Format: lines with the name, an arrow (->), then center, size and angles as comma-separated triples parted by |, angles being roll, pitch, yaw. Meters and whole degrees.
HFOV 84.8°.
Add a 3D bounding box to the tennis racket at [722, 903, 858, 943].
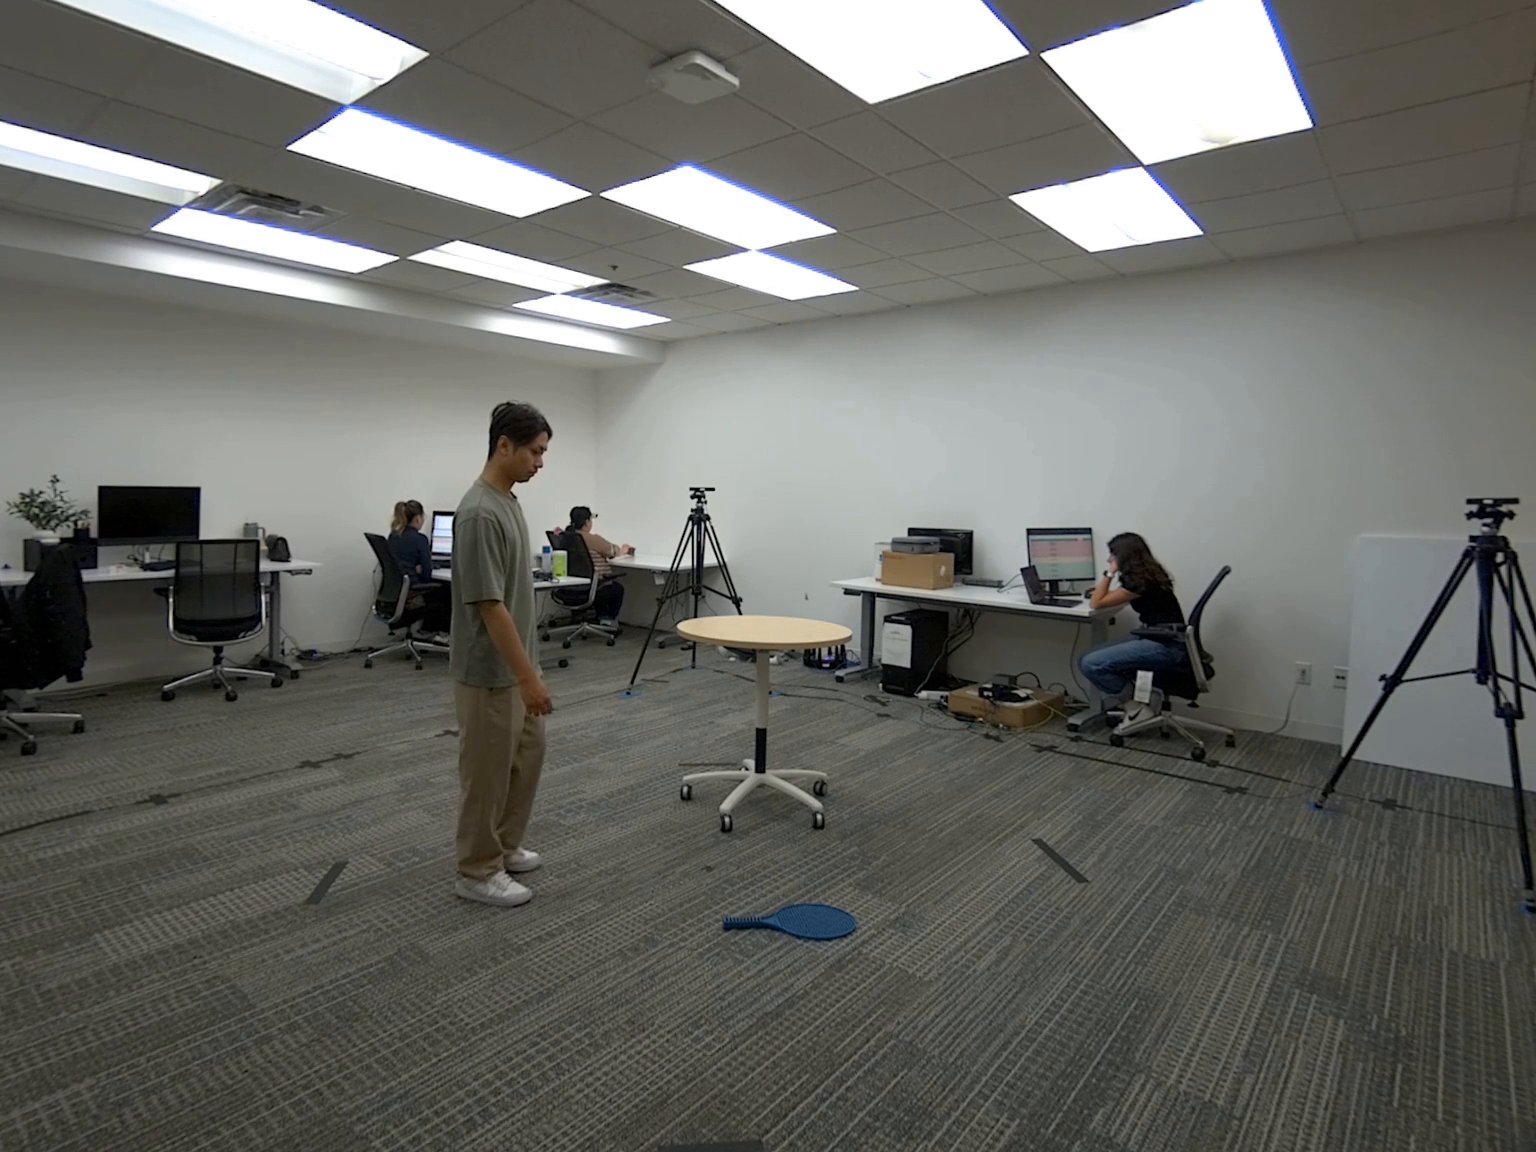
tennis racket -> 0.062, 1.098, 2.712 | 0.428, 0.031, 0.217 | 1, 7, -11
